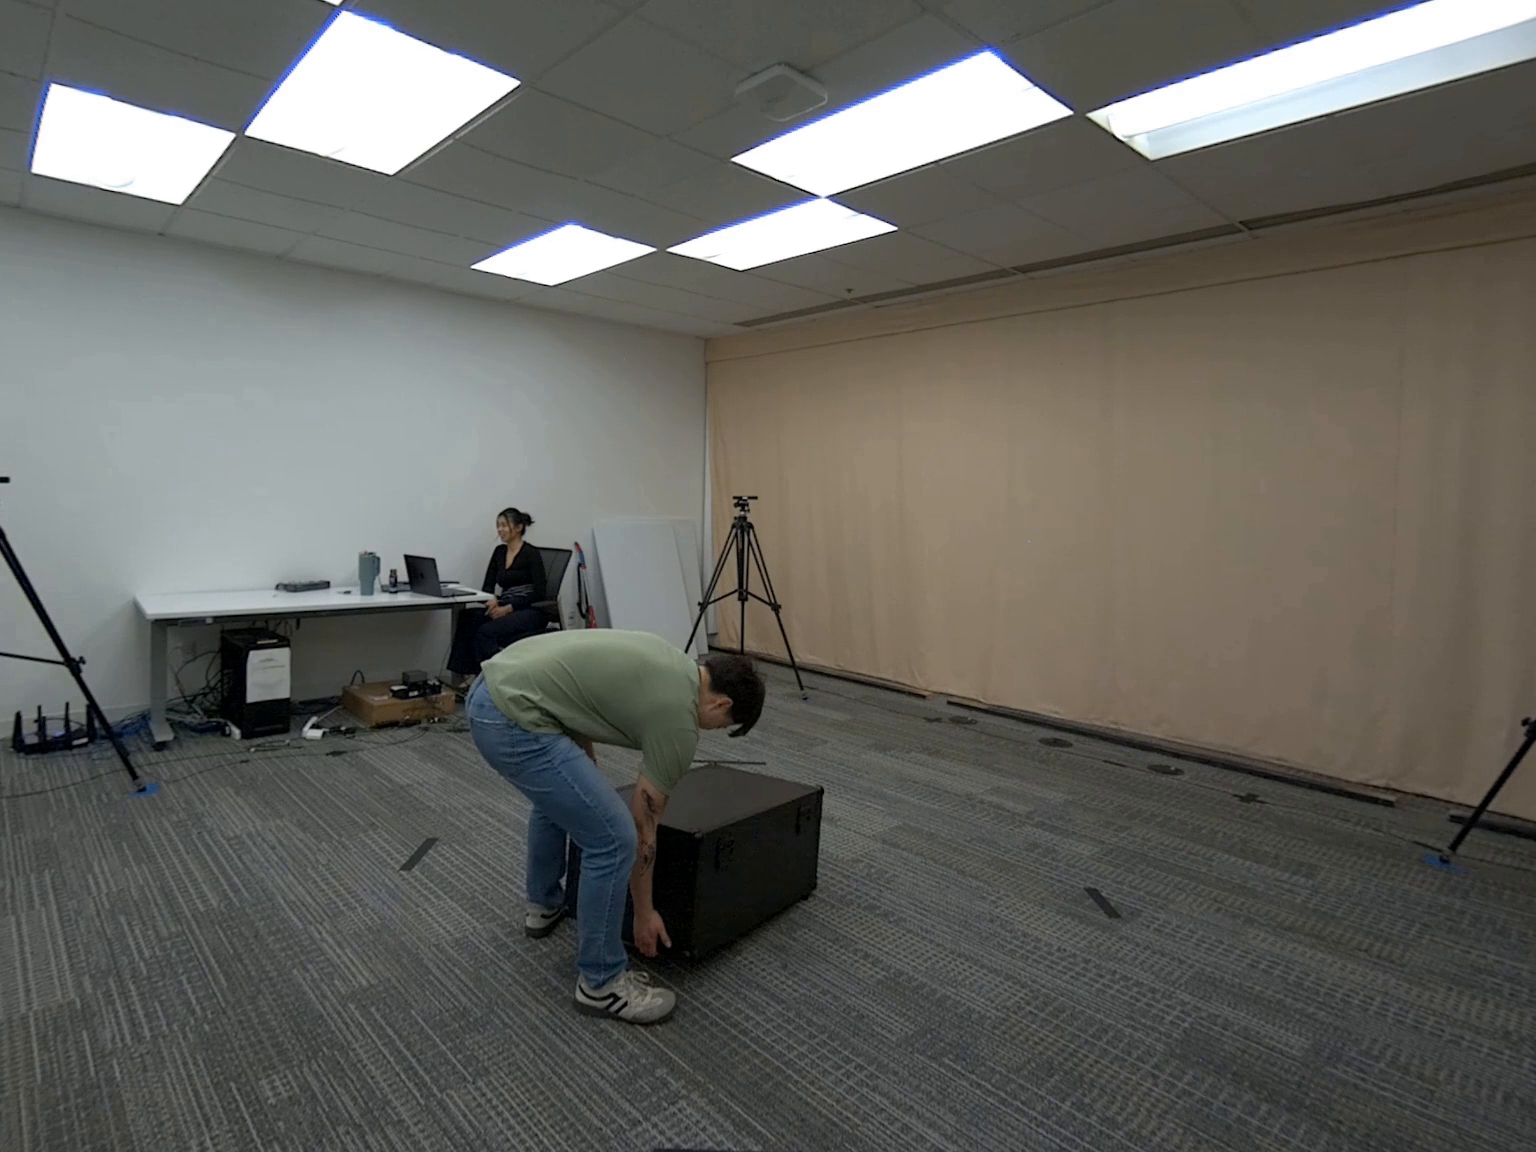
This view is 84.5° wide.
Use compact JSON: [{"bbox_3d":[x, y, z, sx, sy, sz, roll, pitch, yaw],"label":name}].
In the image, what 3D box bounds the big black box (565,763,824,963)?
[{"bbox_3d":[-0.190,0.910,2.808,0.532,0.396,0.842,3,0,30],"label":"big black box"}]
